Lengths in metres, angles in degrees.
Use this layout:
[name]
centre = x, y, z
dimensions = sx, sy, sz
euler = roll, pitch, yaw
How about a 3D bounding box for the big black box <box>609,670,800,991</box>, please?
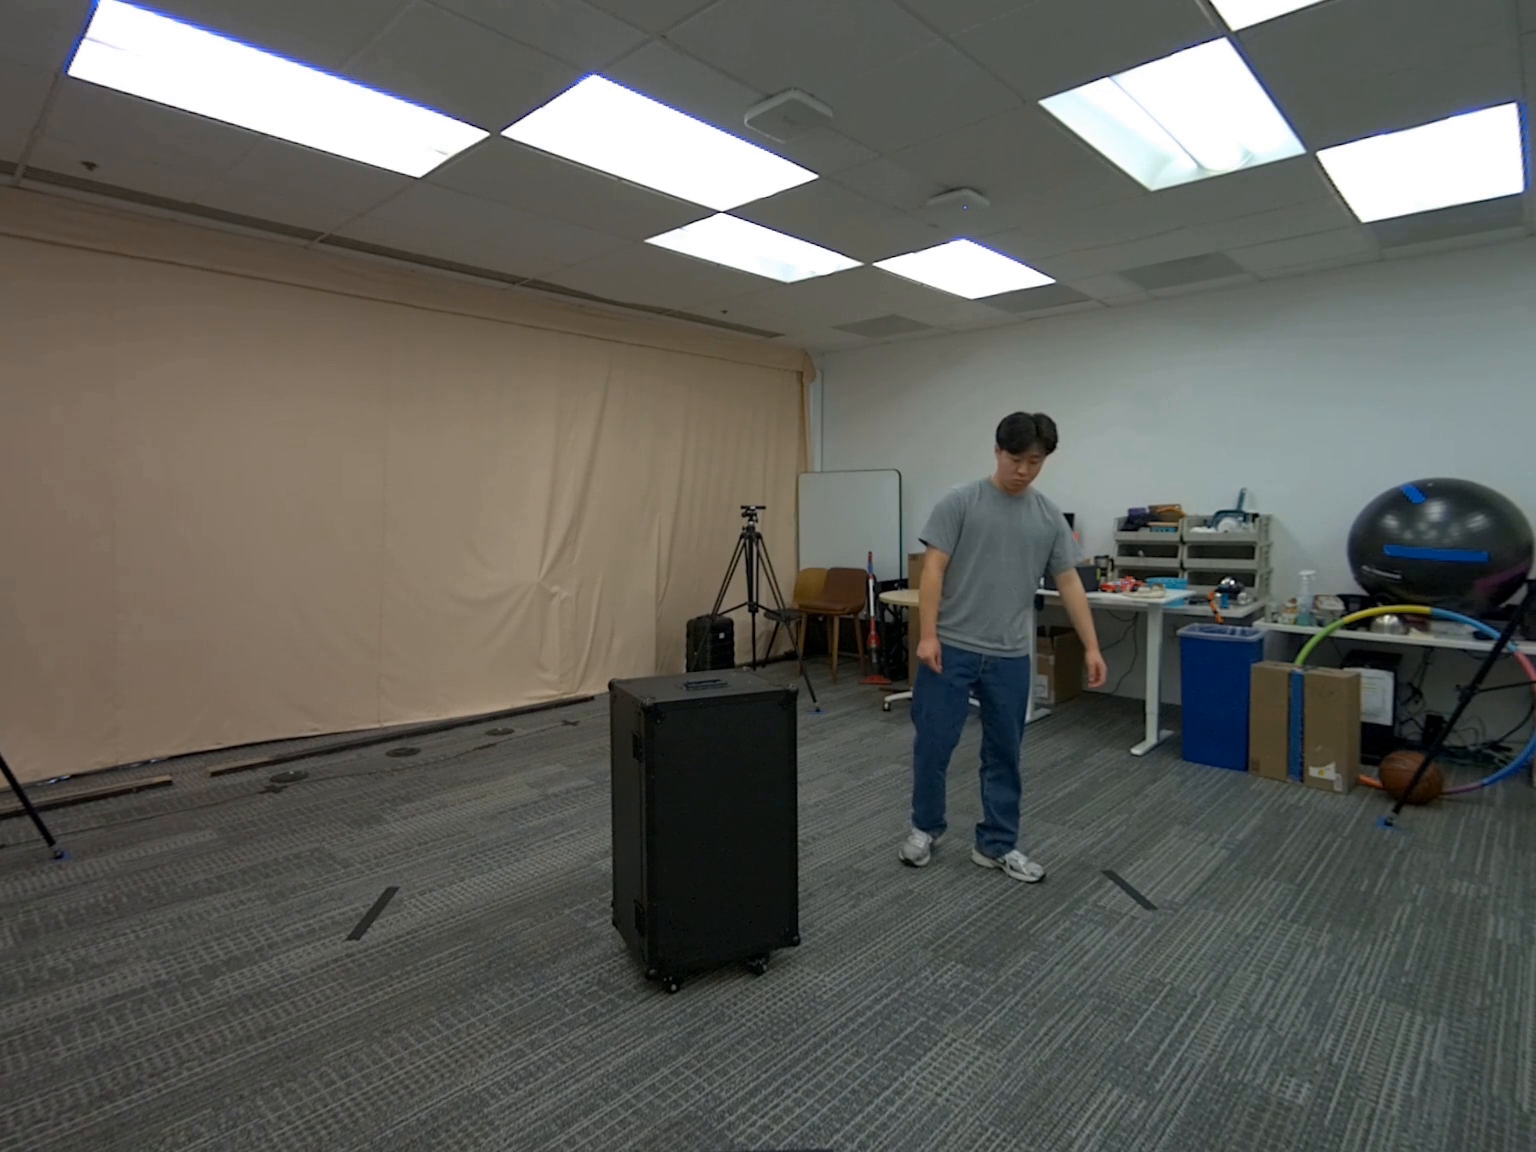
[big black box]
centre = -0.207, 0.752, 2.588
dimensions = 0.509, 0.860, 0.406
euler = -2, 2, -25
